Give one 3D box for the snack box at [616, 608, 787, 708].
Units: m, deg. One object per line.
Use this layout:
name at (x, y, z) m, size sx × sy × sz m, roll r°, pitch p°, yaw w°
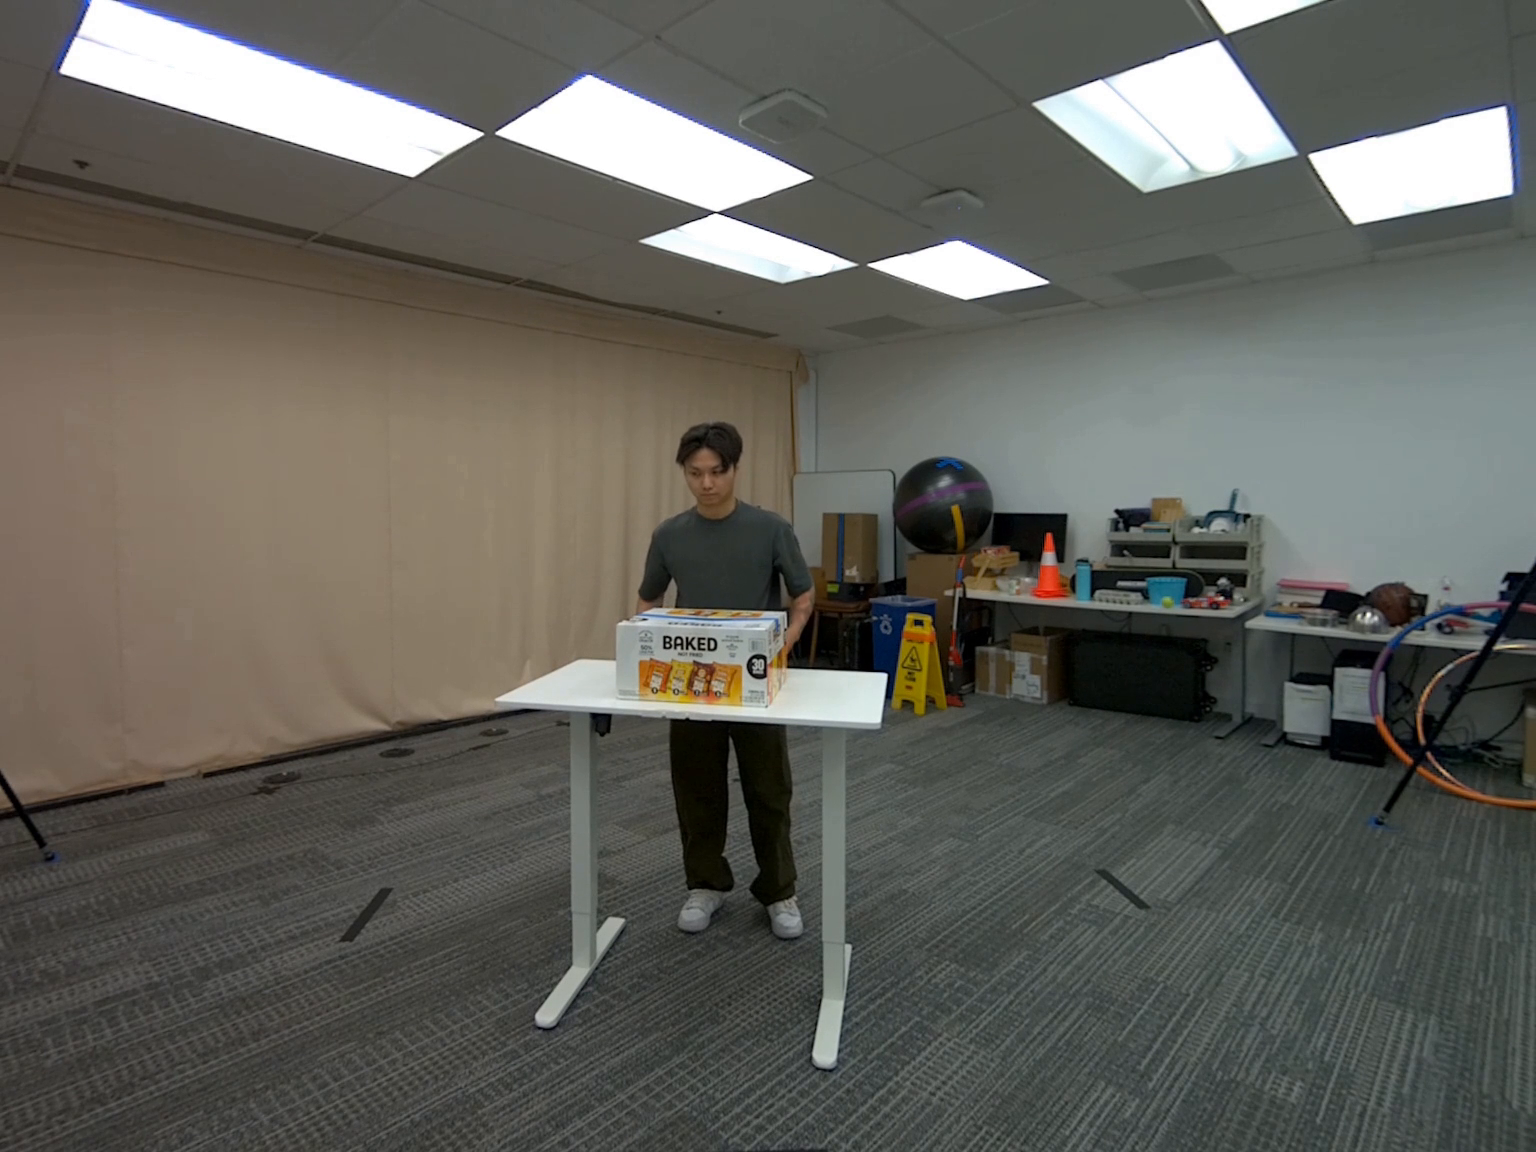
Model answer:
snack box at (-0.173, 0.216, 2.339) m, size 0.410 × 0.205 × 0.337 m, roll 1°, pitch 4°, yaw 11°
